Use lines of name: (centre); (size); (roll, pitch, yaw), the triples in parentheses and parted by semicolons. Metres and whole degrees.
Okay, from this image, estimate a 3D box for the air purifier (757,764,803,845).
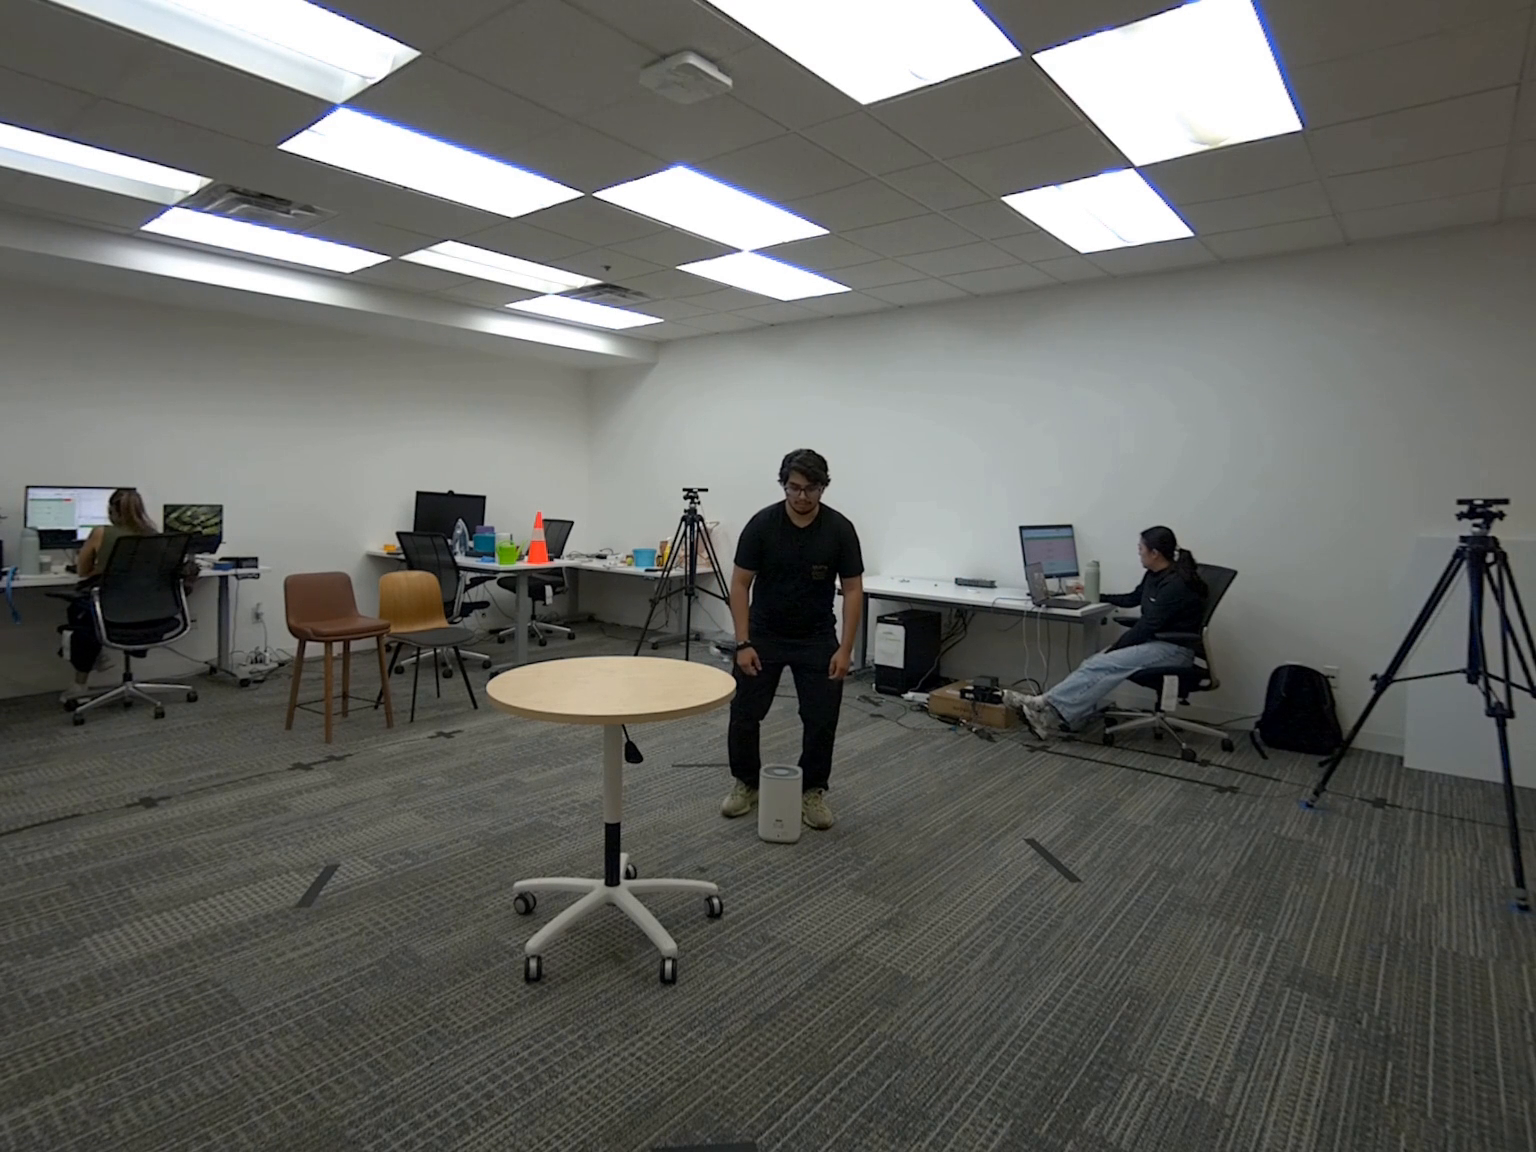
air purifier: (0.042, 0.910, 3.422); (0.170, 0.261, 0.173); (1, 4, 9)
